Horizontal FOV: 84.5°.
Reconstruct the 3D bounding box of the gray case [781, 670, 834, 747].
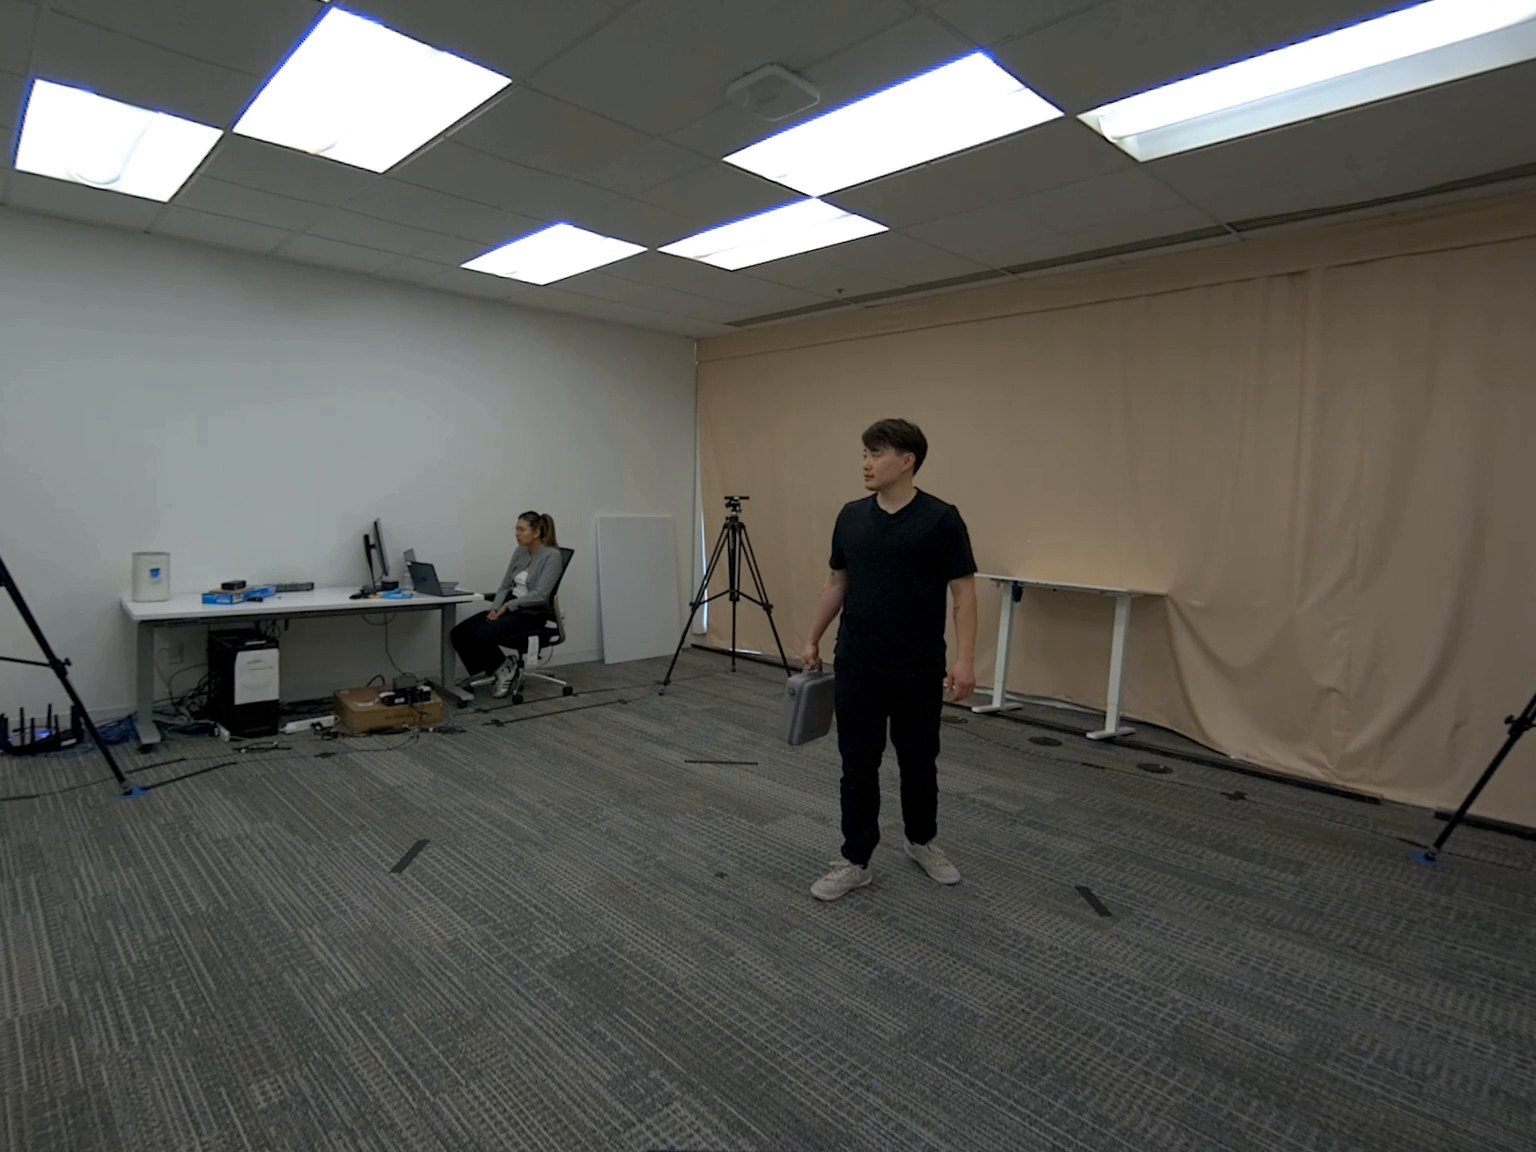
[{"bbox_3d":[0.158,0.488,3.176,0.107,0.259,0.251,13,10,34],"label":"gray case"}]
